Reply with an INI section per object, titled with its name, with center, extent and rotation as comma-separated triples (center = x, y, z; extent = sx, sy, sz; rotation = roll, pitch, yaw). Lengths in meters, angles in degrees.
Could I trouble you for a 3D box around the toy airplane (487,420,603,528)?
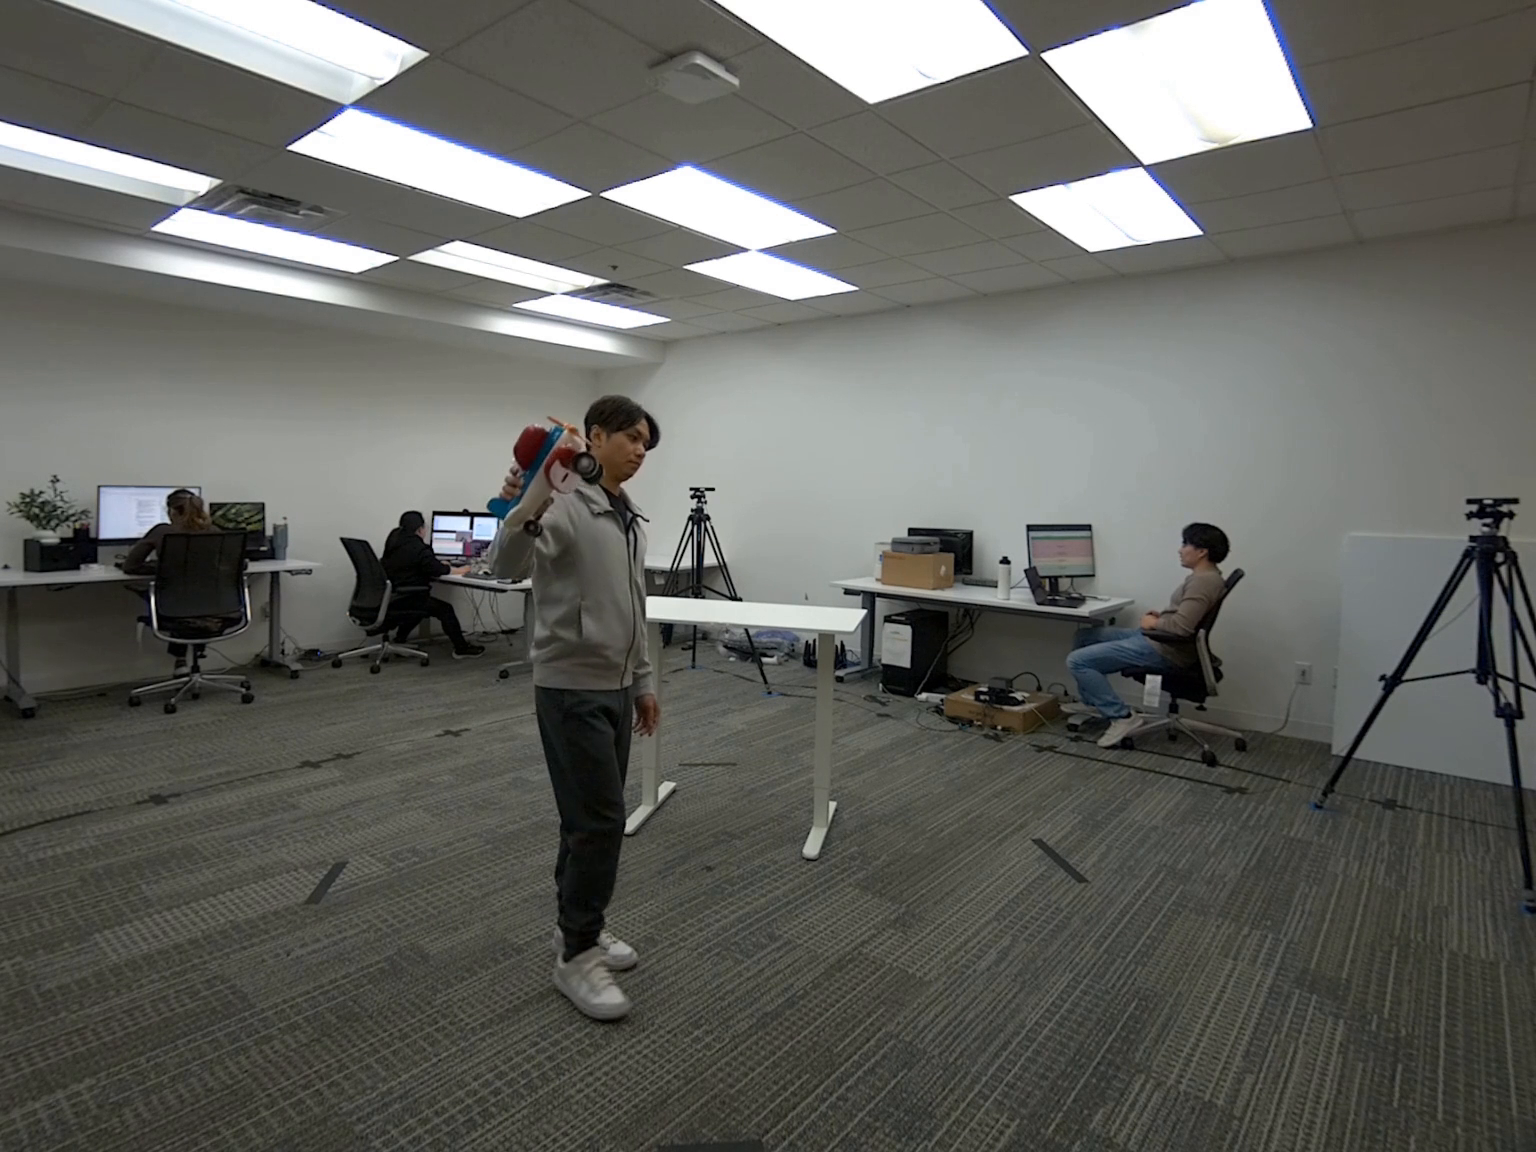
[toy airplane]
center = -0.487, -0.206, 1.829
extent = 0.258, 0.157, 0.250
rotation = -44, -3, -33
